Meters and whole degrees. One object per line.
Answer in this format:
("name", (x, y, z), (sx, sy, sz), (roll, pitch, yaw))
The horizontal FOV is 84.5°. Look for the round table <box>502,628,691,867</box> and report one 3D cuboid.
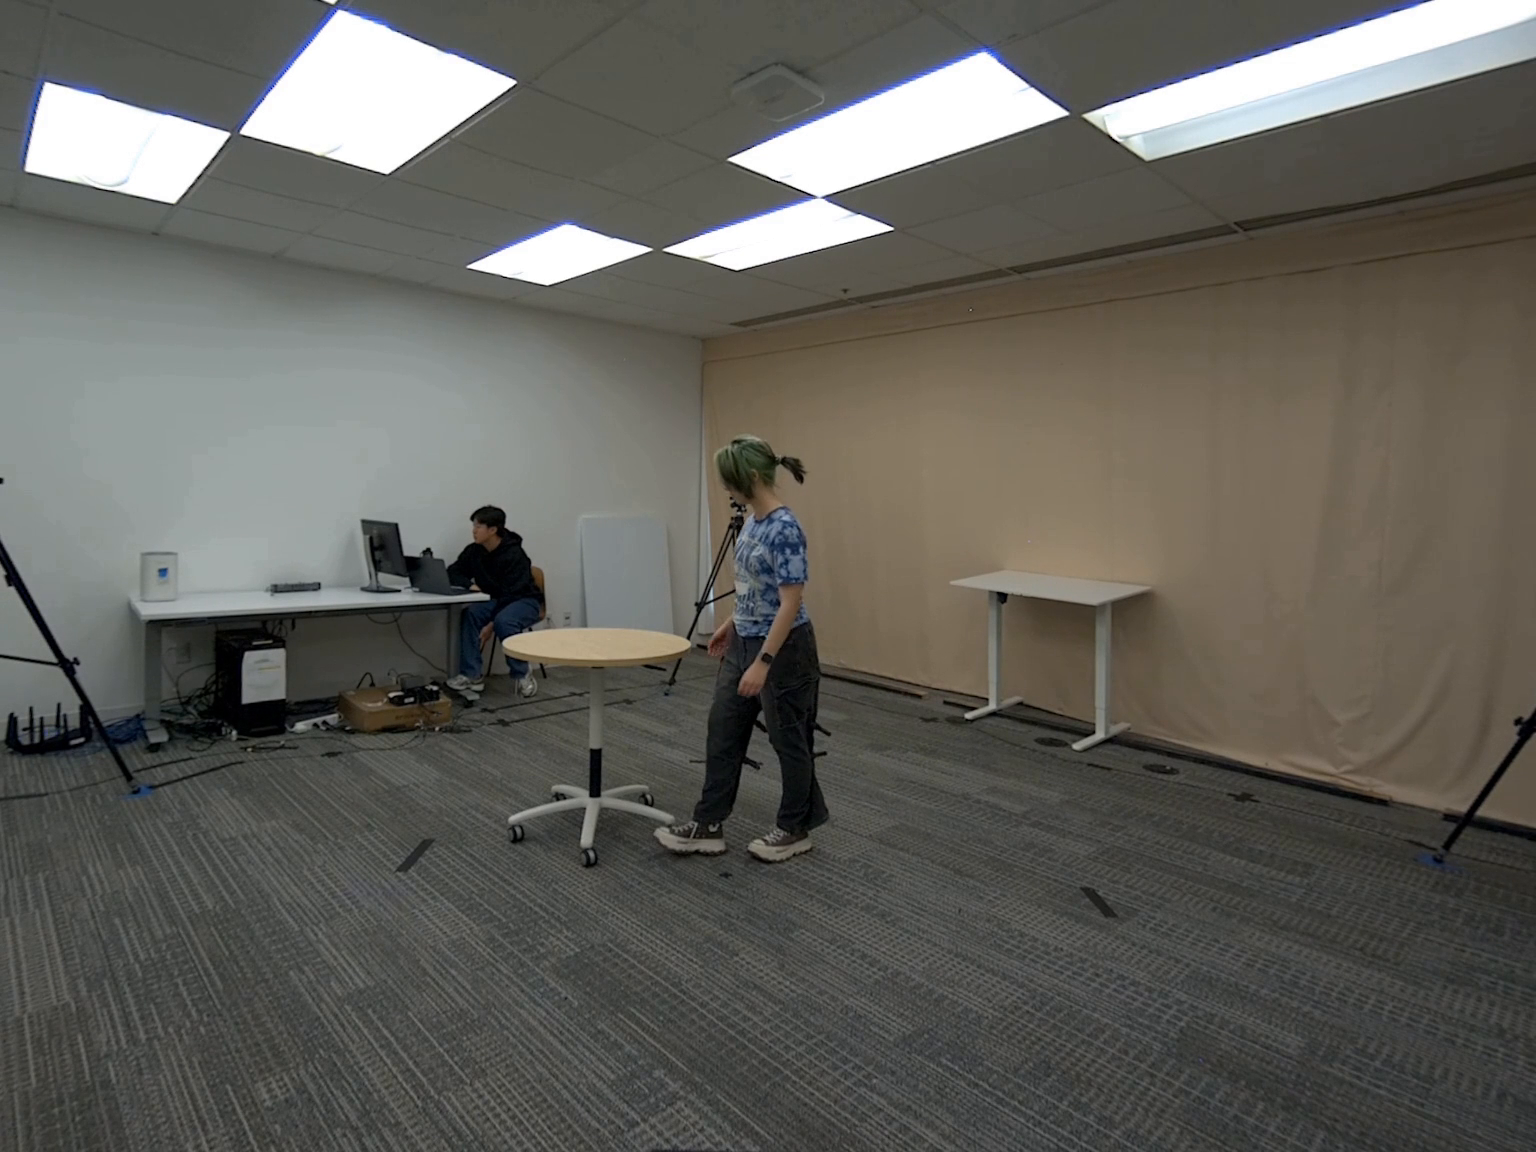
("round table", (-0.719, 0.667, 3.486), (0.763, 0.792, 0.766), (2, 4, -1))
